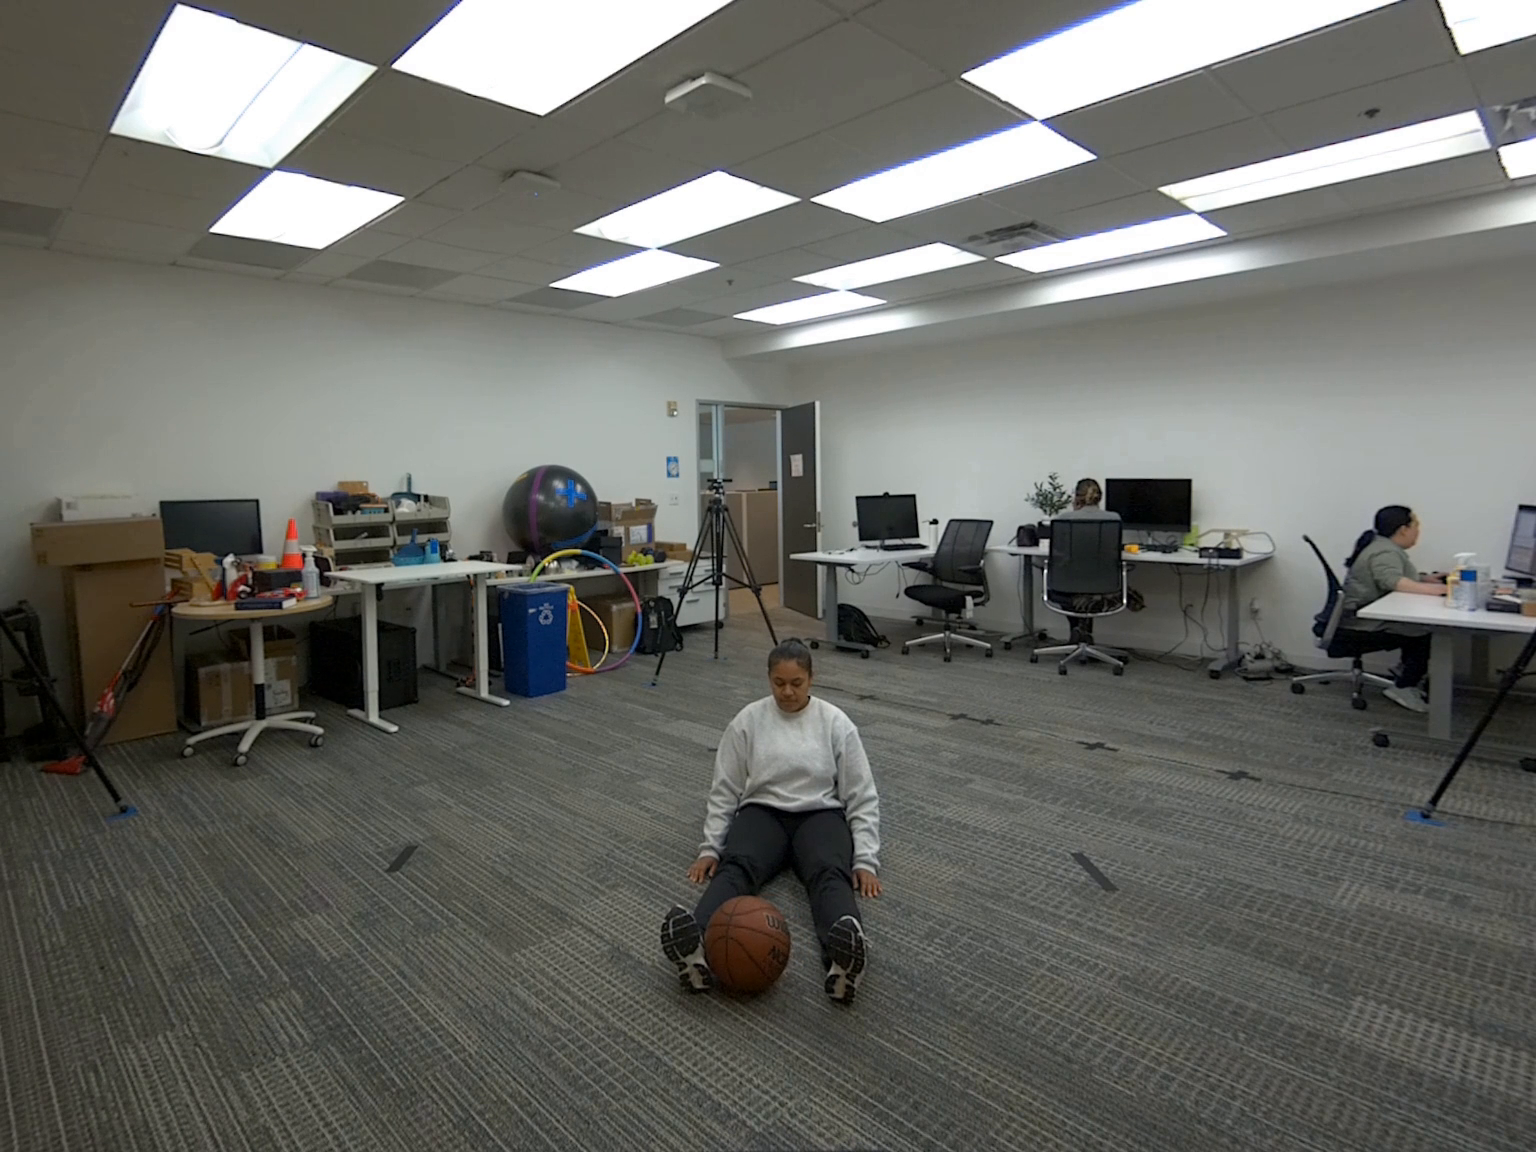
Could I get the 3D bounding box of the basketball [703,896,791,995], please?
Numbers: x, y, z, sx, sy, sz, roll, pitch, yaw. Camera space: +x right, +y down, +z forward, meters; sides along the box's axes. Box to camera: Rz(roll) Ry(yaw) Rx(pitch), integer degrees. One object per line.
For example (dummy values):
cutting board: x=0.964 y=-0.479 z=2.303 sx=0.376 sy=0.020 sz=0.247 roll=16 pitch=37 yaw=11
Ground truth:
basketball: x=-0.048 y=1.021 z=2.353 sx=0.236 sy=0.235 sz=0.237 roll=-1 pitch=5 yaw=-2
